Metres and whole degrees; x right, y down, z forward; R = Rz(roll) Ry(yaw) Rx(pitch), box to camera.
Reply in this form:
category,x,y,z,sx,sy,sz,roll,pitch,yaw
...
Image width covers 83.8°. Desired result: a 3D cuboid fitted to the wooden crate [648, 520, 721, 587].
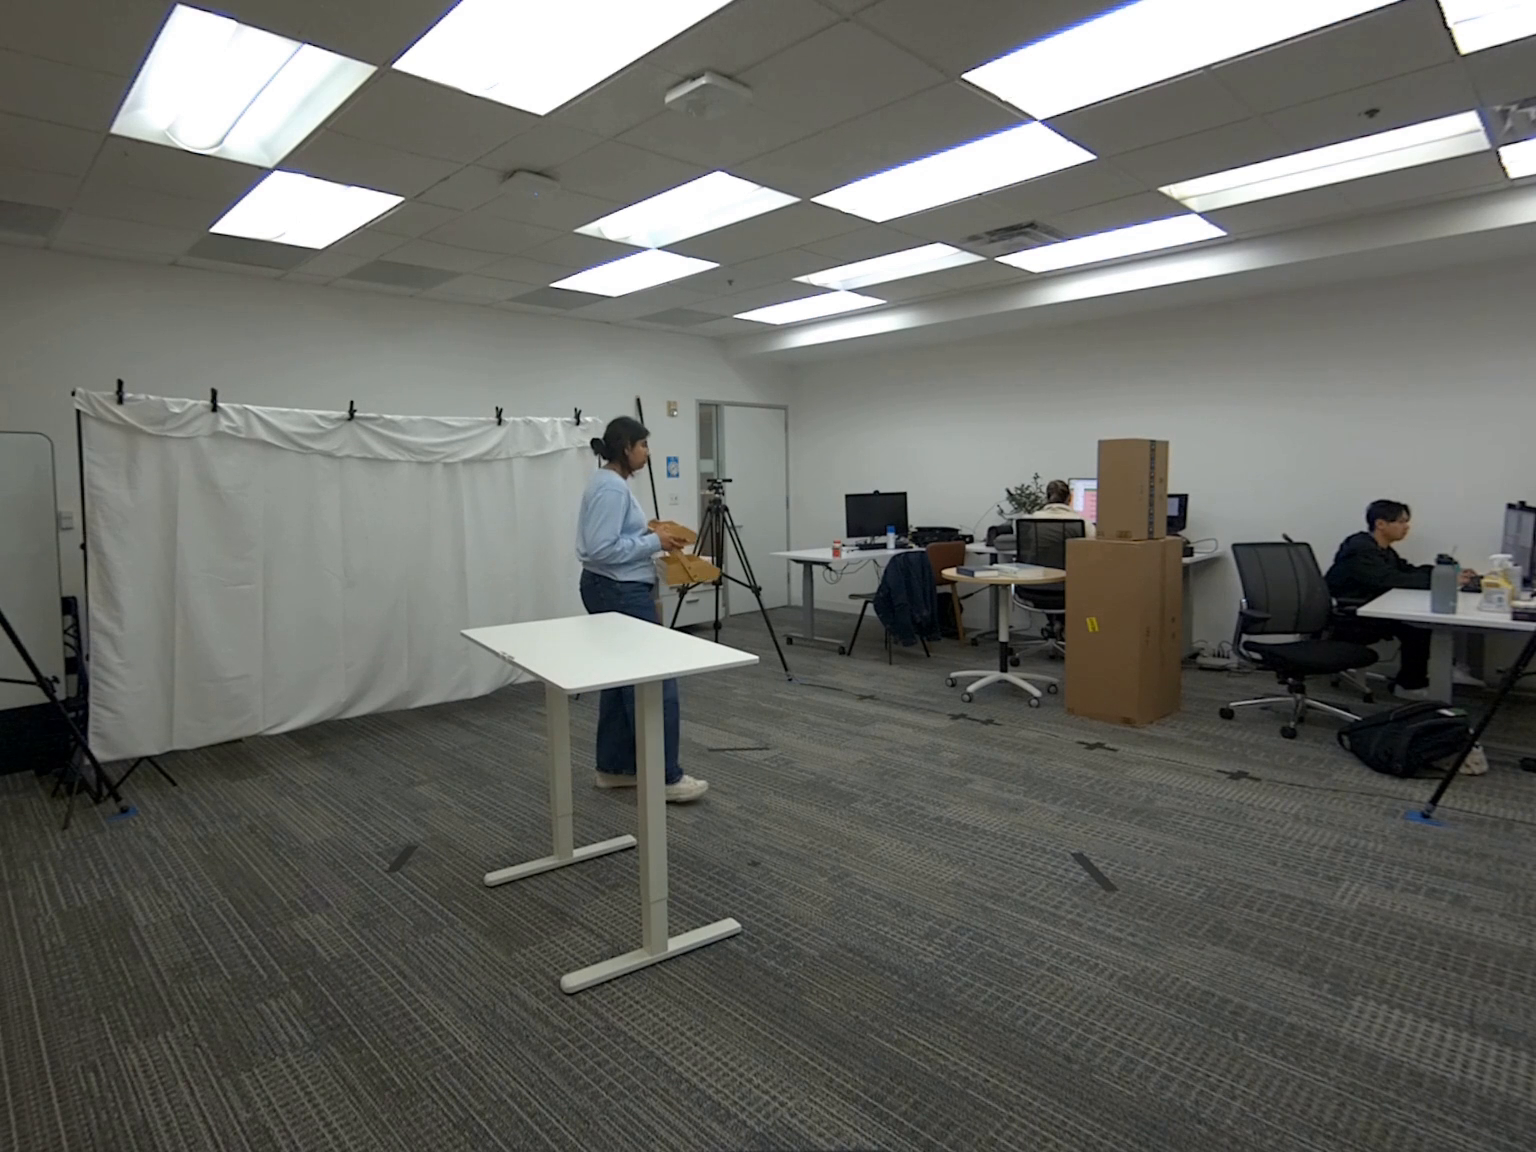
category,x,y,z,sx,sy,sz,roll,pitch,yaw
wooden crate,-0.404,-0.120,3.975,0.298,0.271,0.331,-6,8,-15
